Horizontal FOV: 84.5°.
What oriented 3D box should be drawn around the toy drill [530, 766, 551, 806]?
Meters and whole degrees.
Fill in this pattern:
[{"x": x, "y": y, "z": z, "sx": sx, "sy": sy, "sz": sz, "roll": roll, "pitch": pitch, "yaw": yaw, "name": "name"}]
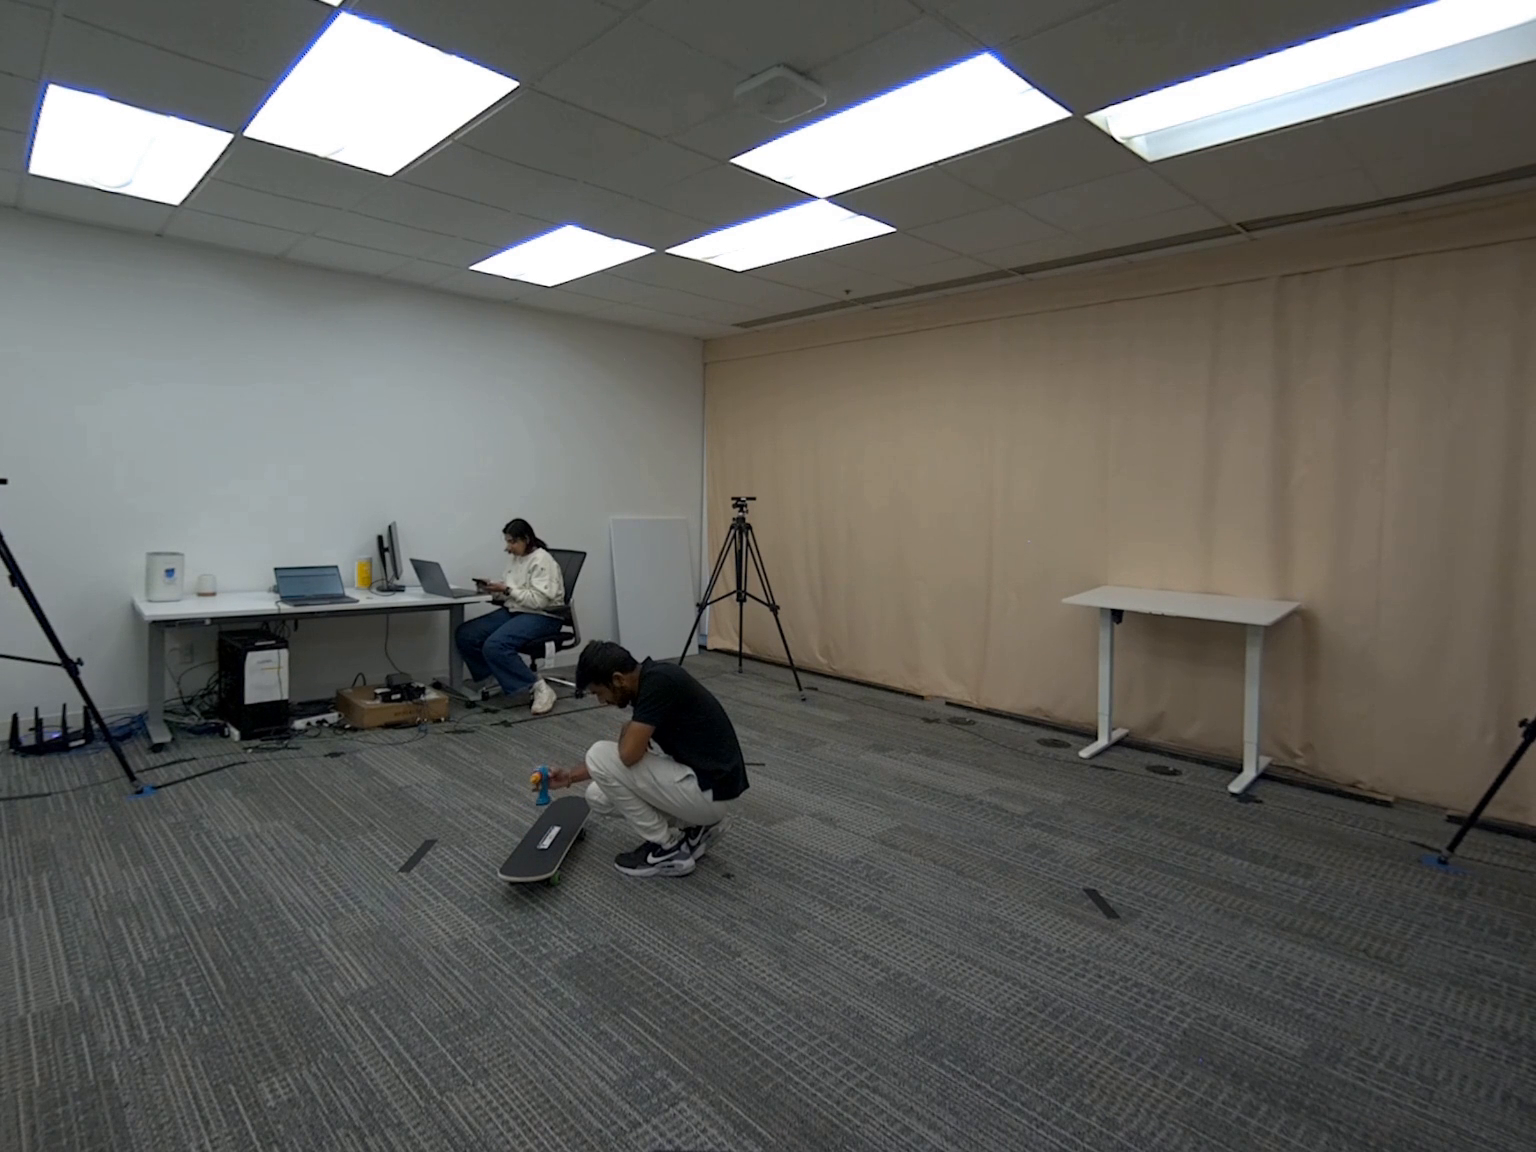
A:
[{"x": -0.869, "y": 0.793, "z": 3.163, "sx": 0.061, "sy": 0.146, "sz": 0.169, "roll": 3, "pitch": -2, "yaw": 4, "name": "toy drill"}]
